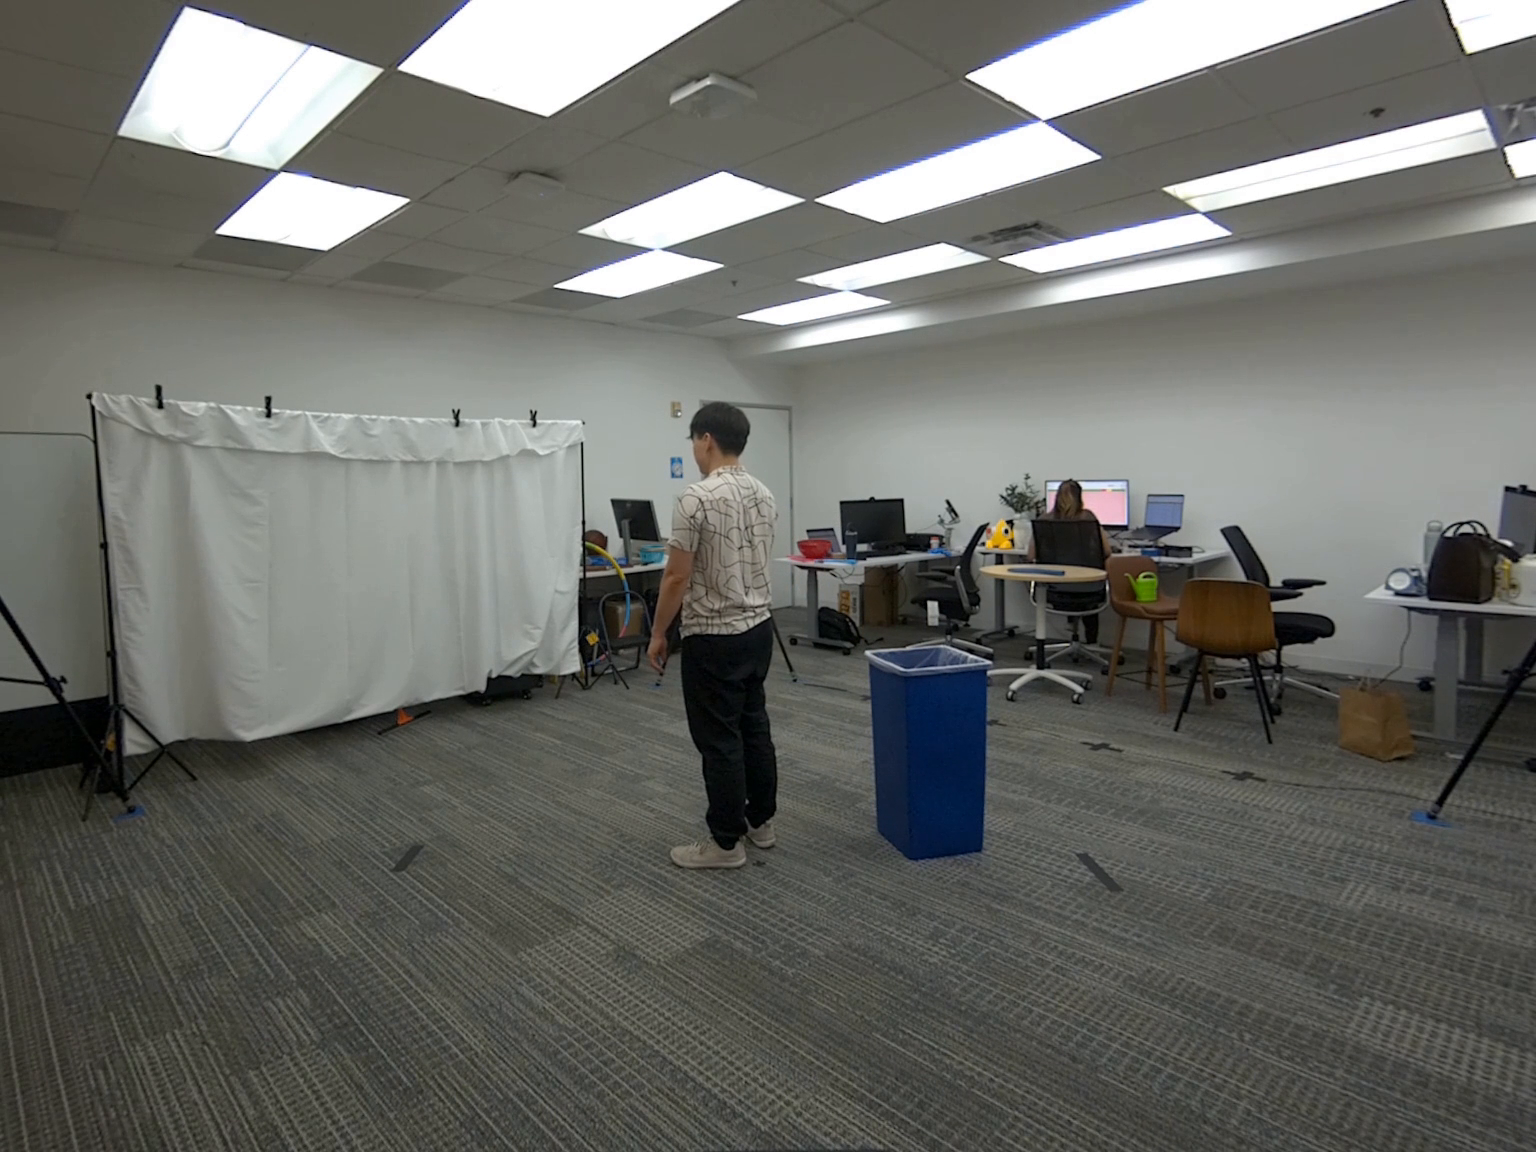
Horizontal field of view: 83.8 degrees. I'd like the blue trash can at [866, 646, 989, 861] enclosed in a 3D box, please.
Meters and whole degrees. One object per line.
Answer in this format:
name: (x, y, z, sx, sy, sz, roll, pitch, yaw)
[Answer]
blue trash can: (0.603, 0.660, 3.259, 0.369, 0.711, 0.385, -2, 3, -16)
